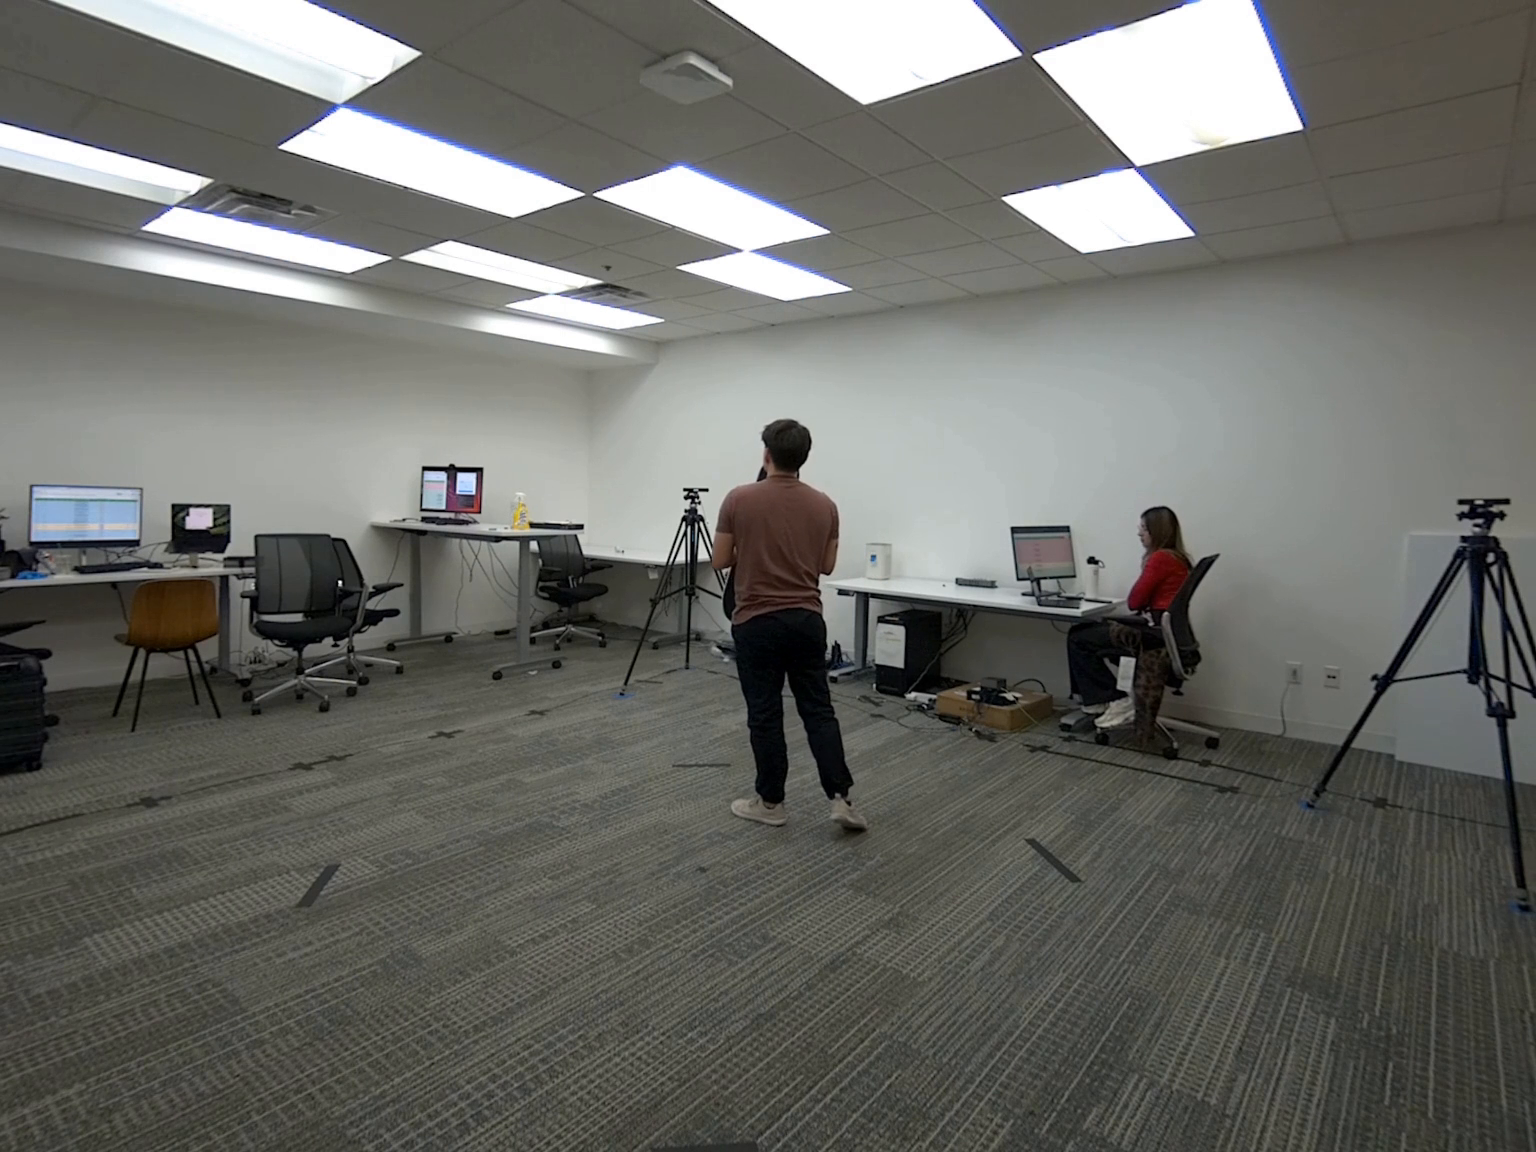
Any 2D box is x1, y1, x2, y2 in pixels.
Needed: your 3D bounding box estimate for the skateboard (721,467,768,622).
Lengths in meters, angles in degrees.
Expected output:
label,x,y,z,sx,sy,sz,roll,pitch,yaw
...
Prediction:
label,x,y,z,sx,sy,sz,roll,pitch,yaw
skateboard,-0.036,-0.169,3.848,0.190,0.784,0.113,15,2,-16
